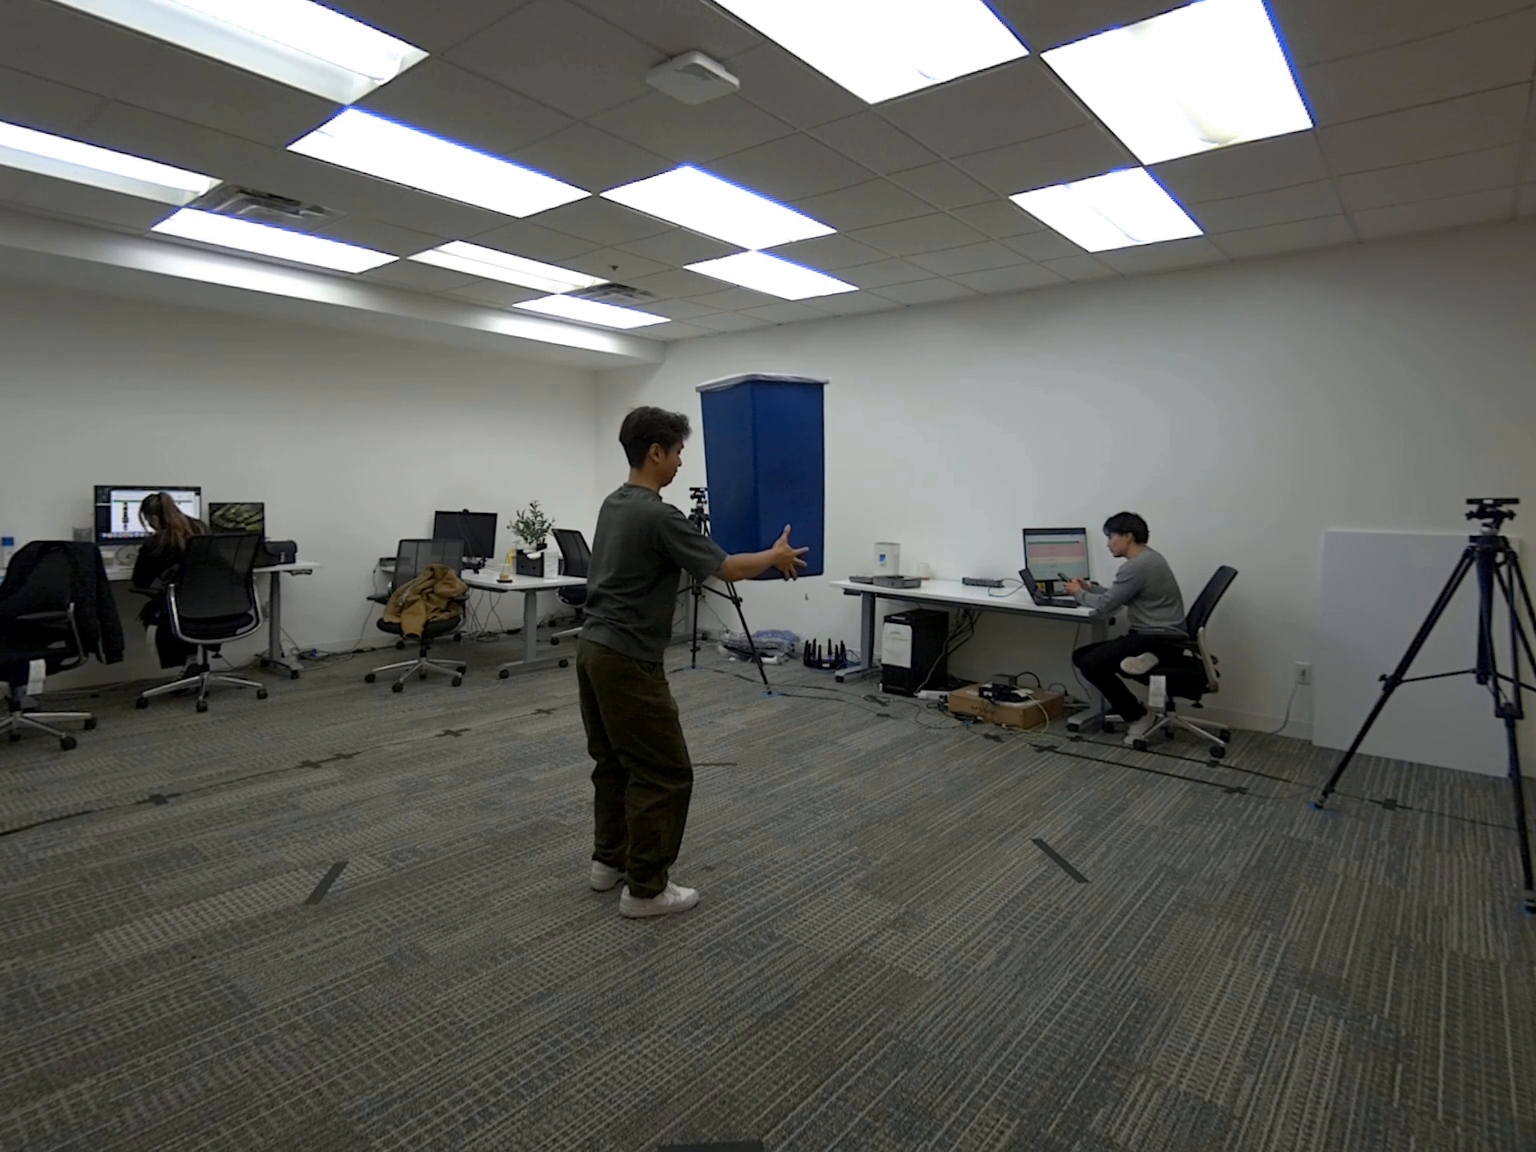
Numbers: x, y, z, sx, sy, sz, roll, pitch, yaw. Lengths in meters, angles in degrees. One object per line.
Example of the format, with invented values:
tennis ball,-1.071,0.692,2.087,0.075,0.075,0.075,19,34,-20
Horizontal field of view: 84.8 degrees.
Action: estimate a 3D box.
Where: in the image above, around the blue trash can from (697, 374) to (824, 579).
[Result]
blue trash can,-0.028,-0.364,3.130,0.367,0.711,0.386,-5,4,-37
